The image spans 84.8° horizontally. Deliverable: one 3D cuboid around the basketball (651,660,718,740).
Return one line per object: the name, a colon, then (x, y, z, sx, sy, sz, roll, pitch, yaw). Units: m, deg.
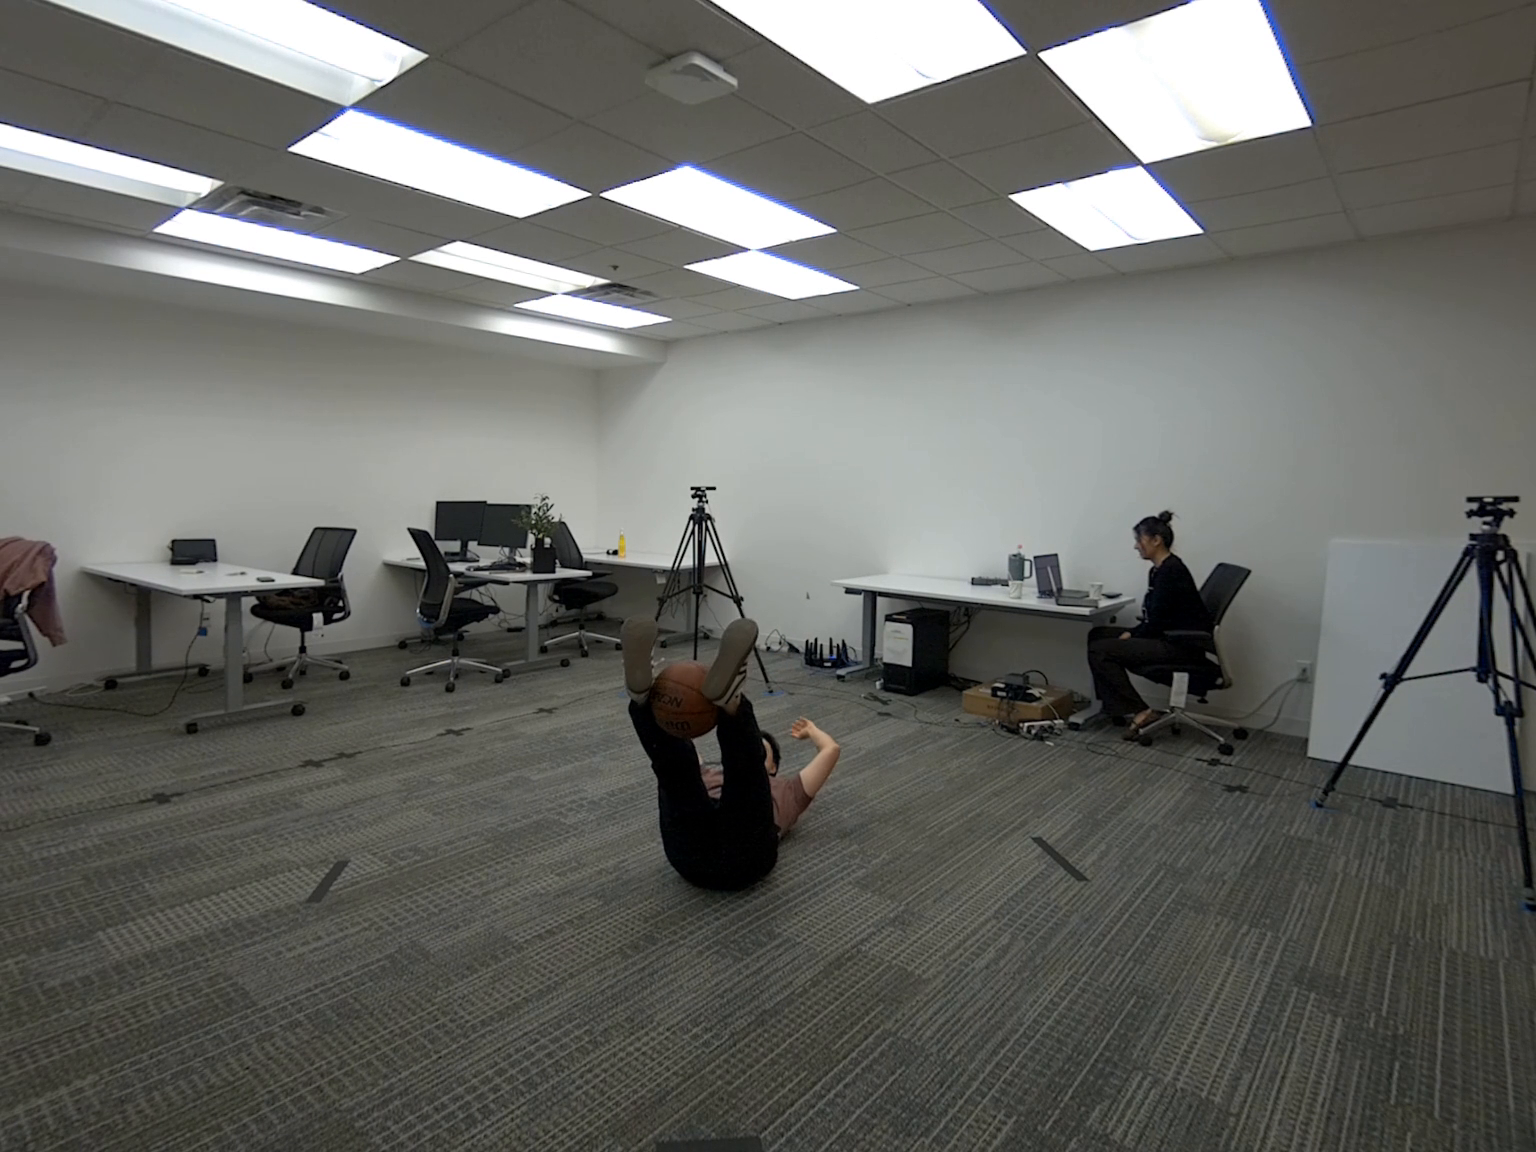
basketball: (-0.256, 0.380, 2.600, 0.236, 0.235, 0.237, -3, 3, -2)
